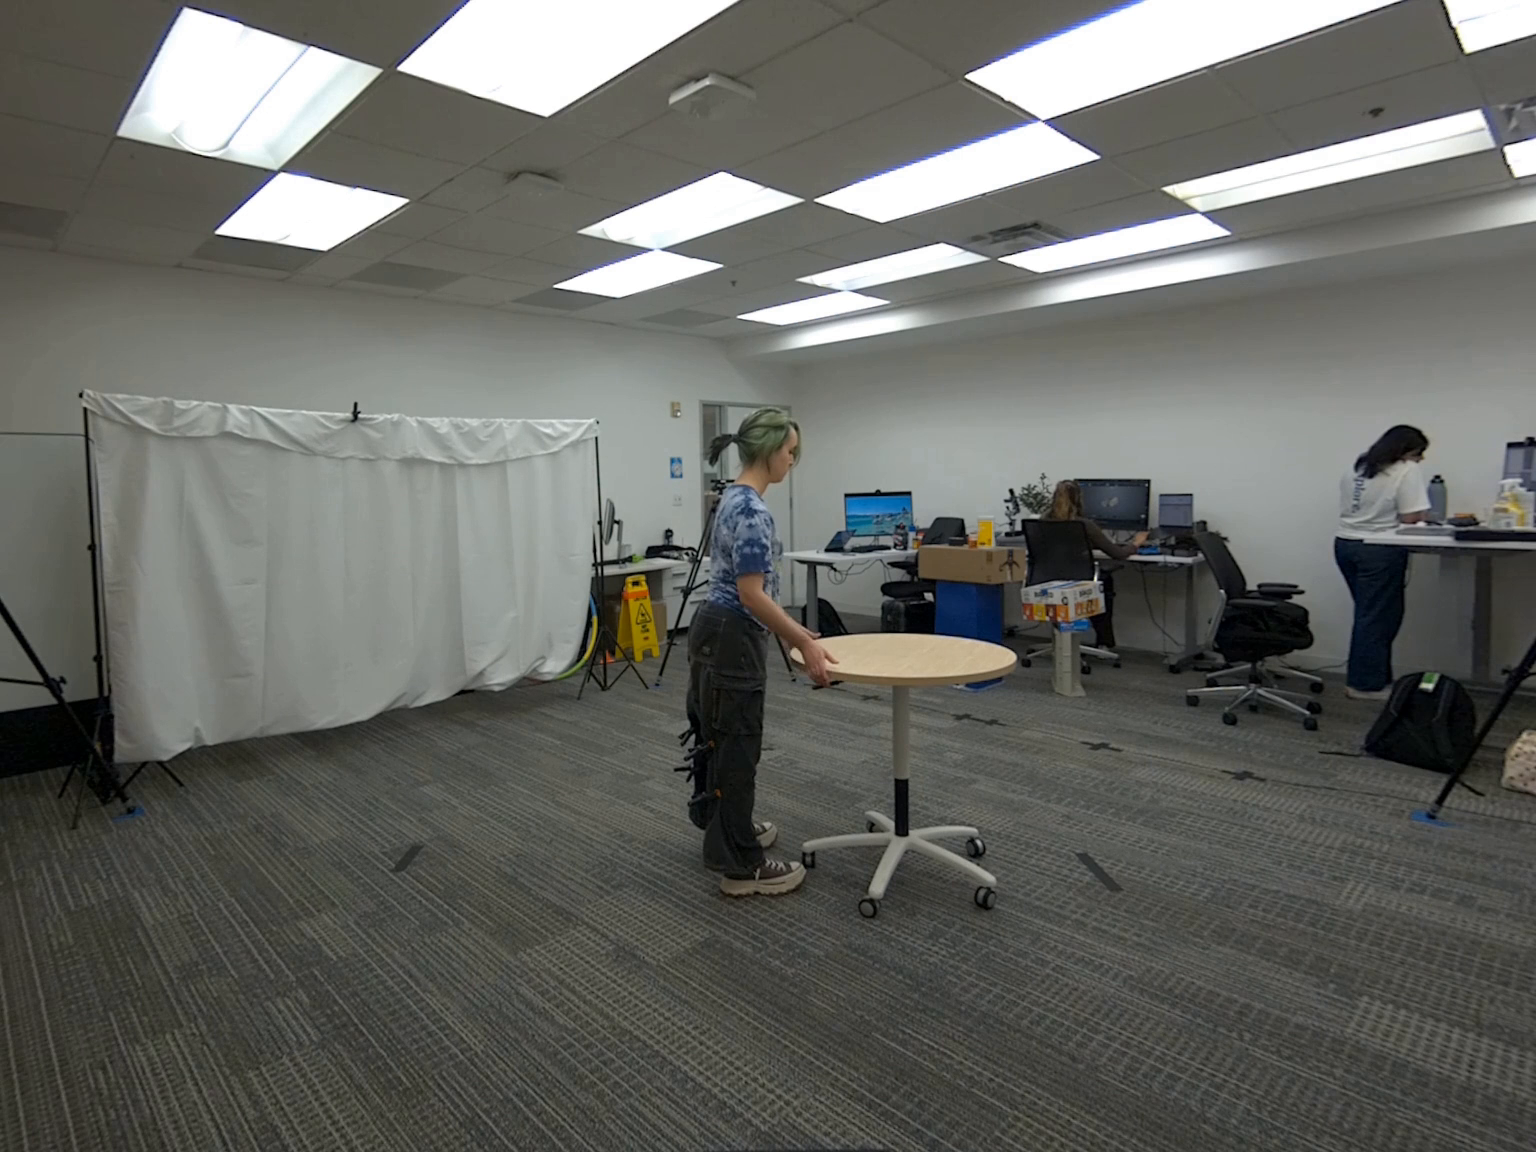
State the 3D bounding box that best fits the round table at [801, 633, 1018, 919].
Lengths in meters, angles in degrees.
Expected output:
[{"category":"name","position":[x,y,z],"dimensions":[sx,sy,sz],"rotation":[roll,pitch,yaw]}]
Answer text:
[{"category":"round table","position":[0.464,0.661,2.988],"dimensions":[0.763,0.791,0.768],"rotation":[-1,5,-2]}]
